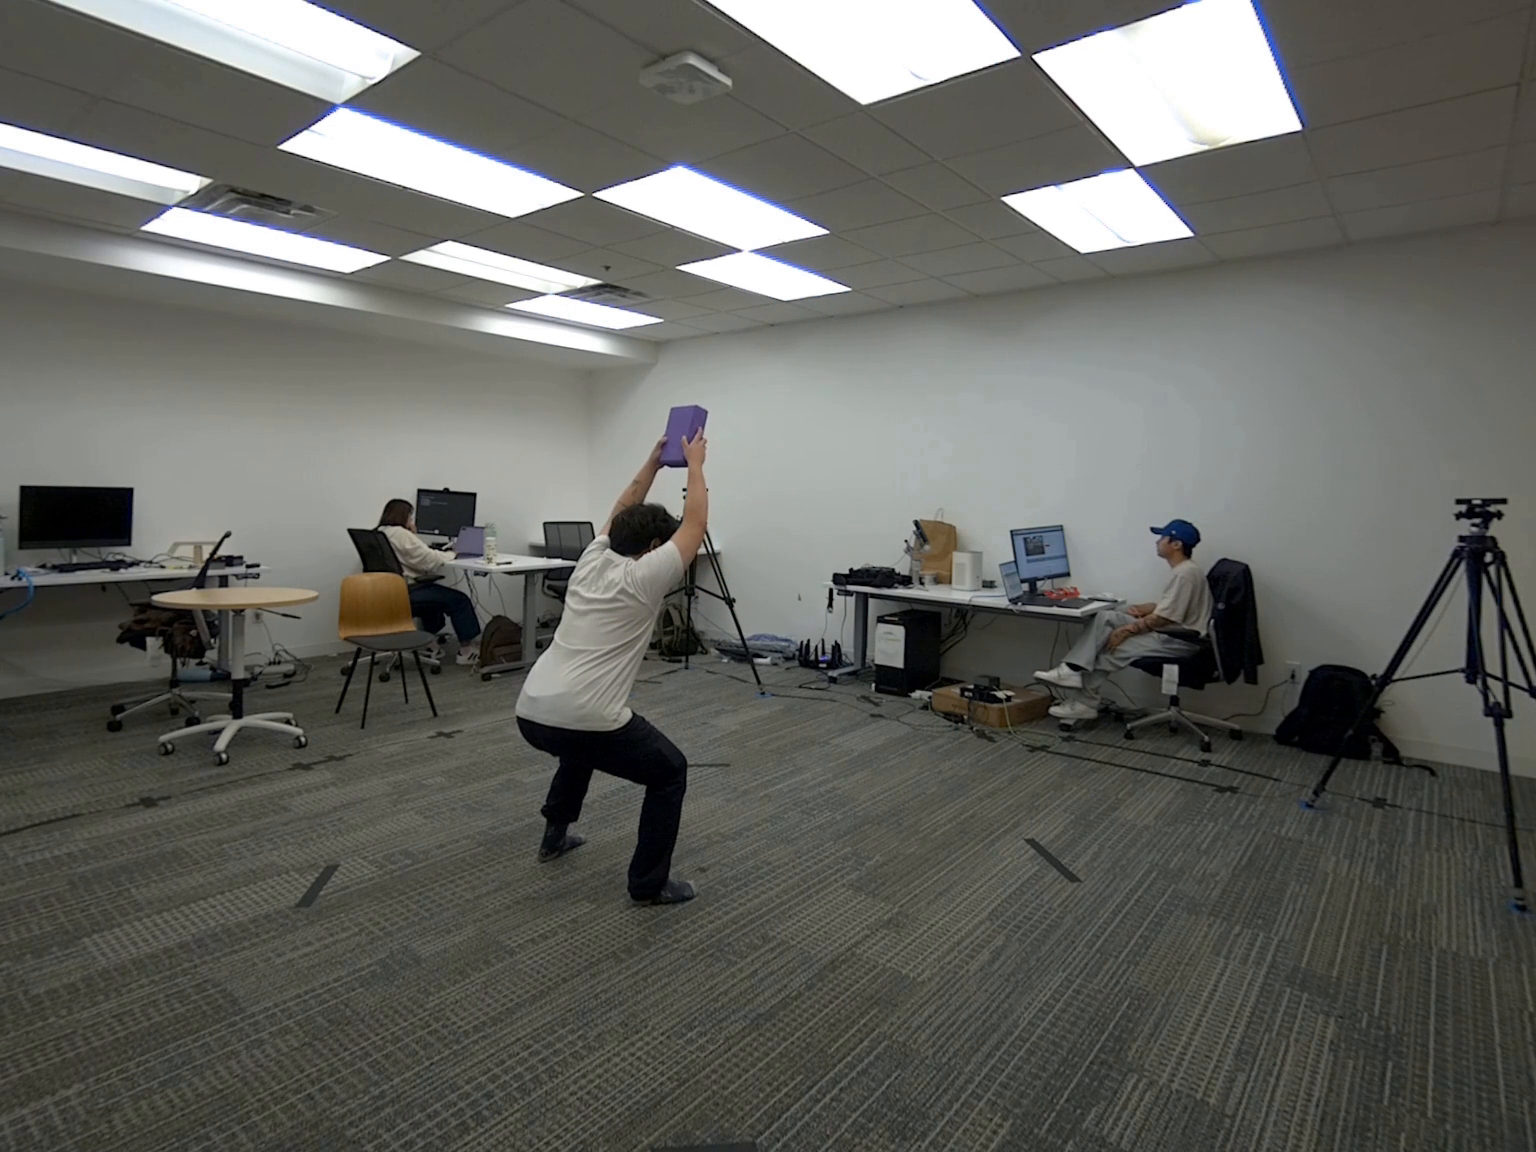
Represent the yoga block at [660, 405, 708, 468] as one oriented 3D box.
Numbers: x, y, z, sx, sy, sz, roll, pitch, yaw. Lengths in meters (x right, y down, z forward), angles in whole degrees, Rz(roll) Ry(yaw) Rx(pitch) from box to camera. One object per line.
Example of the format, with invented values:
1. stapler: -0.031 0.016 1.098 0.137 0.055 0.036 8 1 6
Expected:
1. yoga block: -0.327 -0.535 3.246 0.154 0.231 0.073 5 -13 42
